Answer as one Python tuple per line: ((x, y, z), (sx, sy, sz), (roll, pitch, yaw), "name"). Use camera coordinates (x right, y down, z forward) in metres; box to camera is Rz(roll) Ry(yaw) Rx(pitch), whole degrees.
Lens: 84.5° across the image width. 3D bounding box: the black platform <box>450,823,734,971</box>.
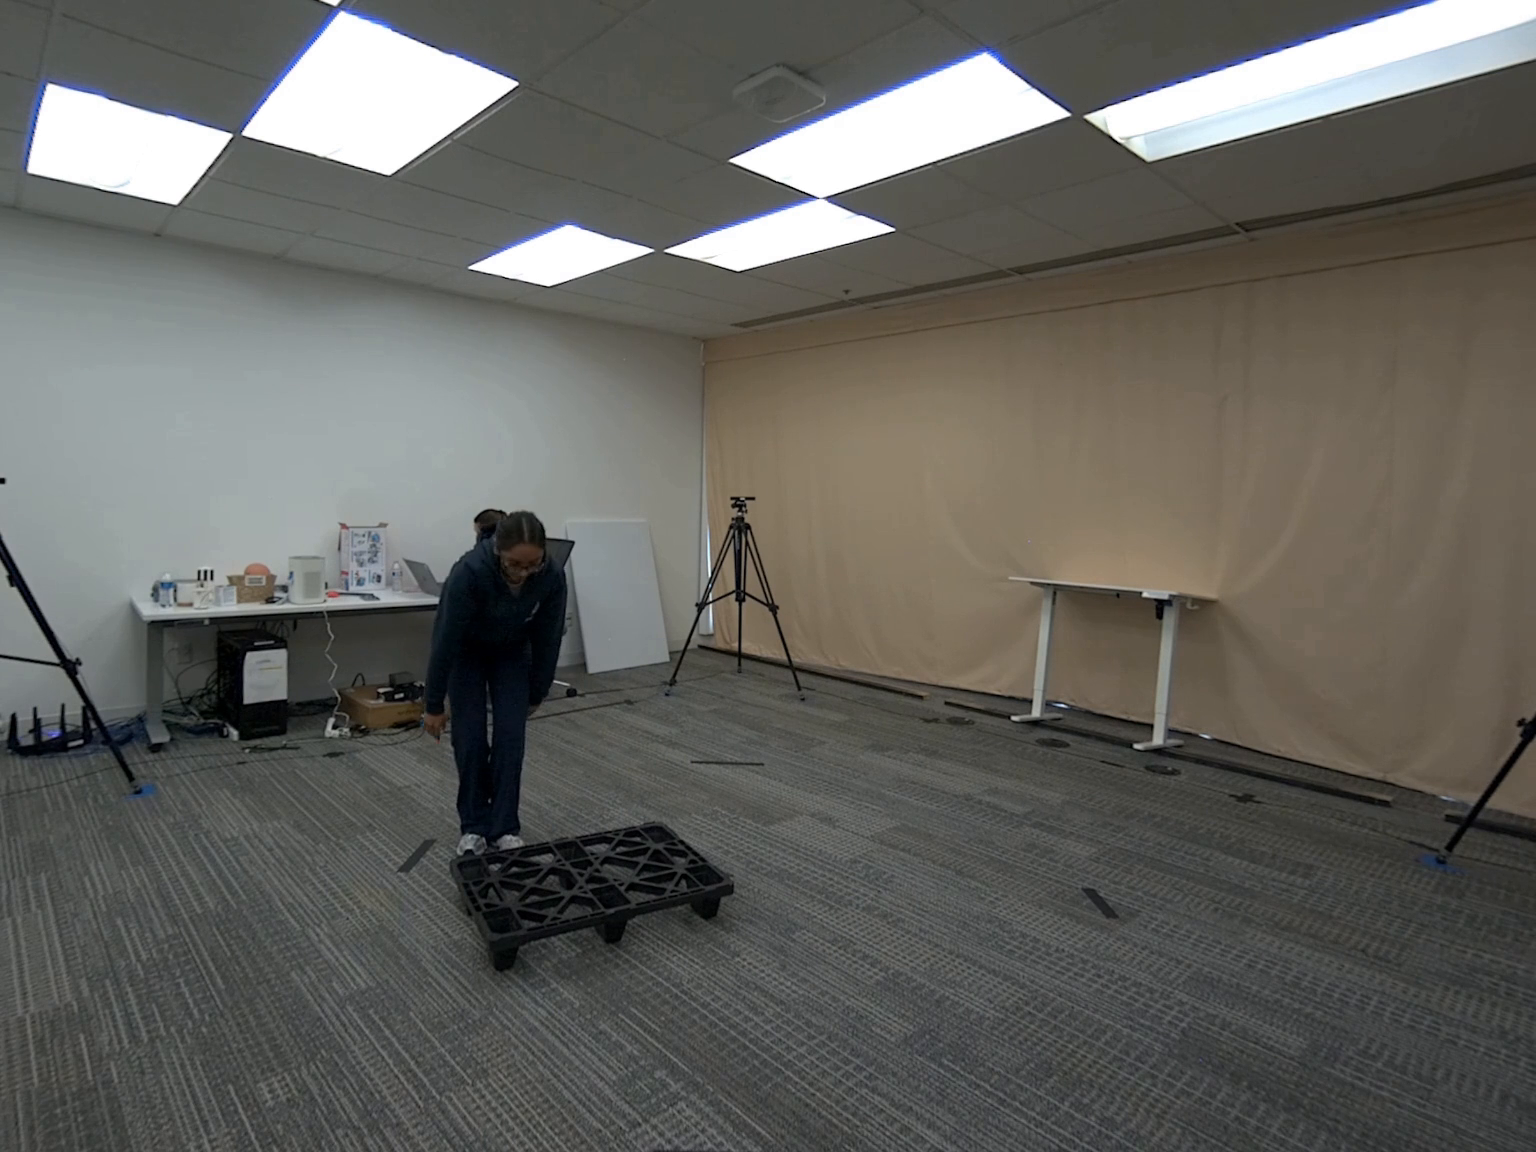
((-0.608, 1.057, 2.820), (0.789, 0.143, 0.619), (-2, 6, -31), "black platform")
